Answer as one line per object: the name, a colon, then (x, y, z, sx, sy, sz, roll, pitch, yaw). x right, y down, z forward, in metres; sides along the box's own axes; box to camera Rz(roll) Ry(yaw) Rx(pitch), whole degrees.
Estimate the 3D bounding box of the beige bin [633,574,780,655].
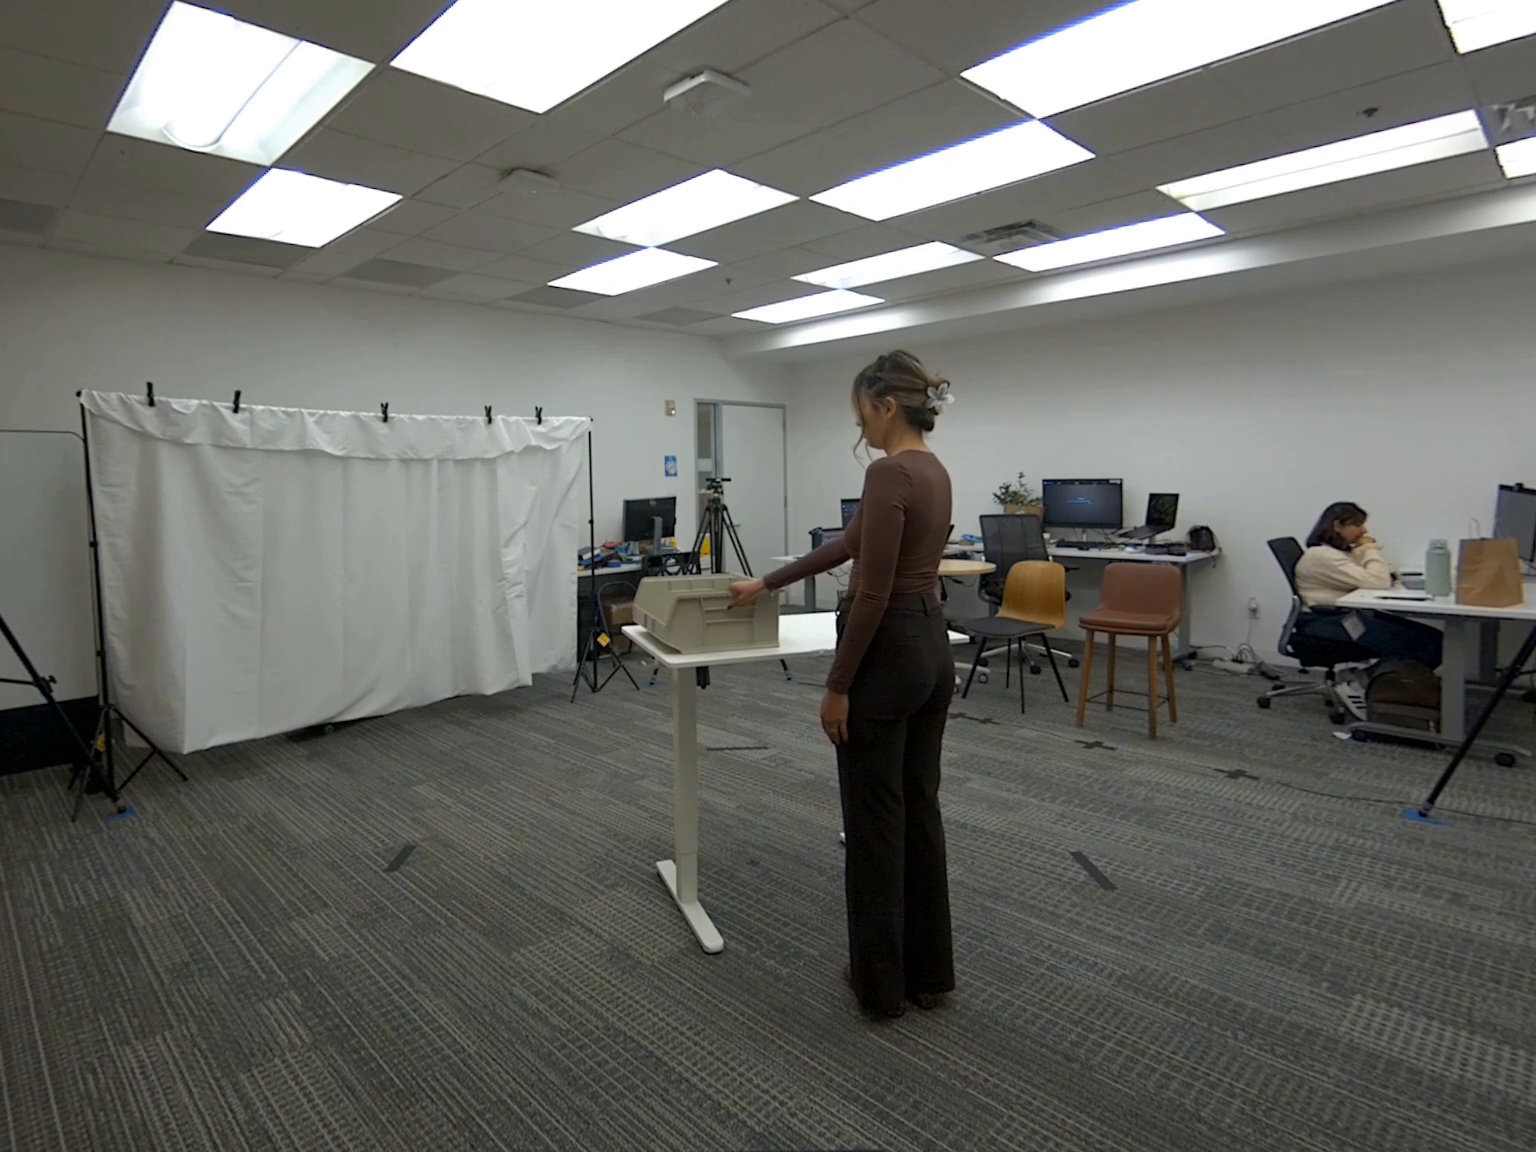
beige bin: (-0.201, 0.114, 2.728, 0.370, 0.188, 0.432, -2, 6, -21)
